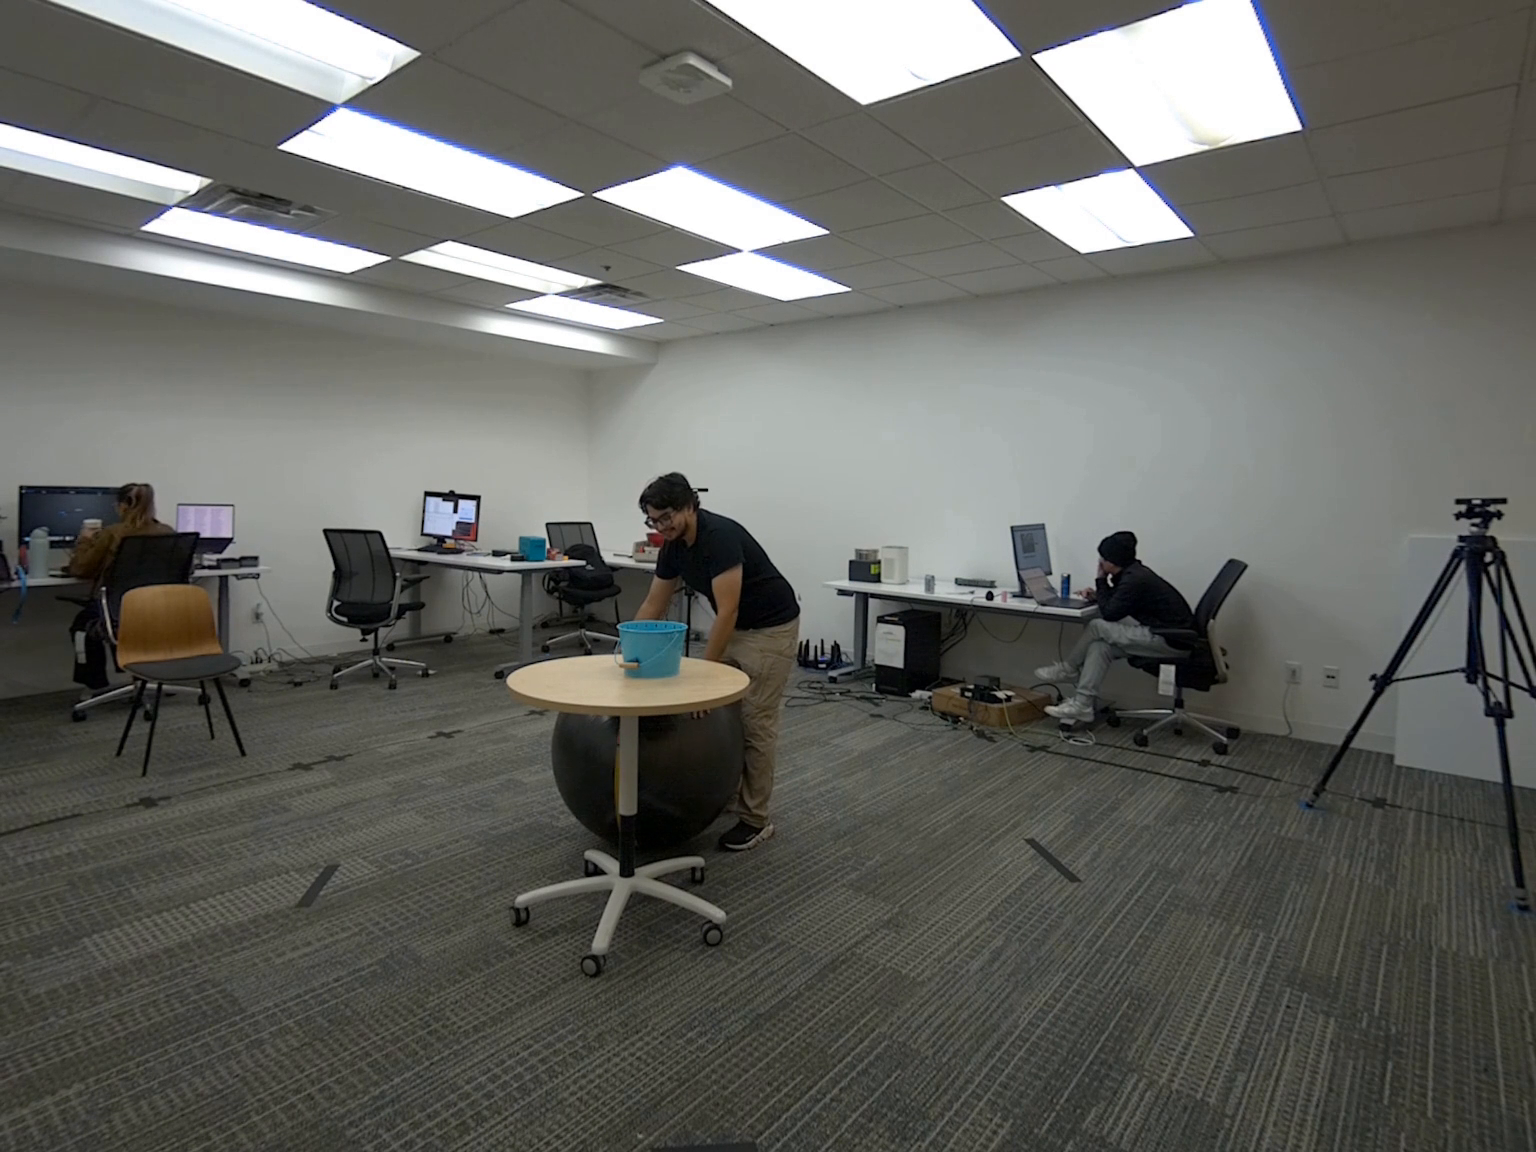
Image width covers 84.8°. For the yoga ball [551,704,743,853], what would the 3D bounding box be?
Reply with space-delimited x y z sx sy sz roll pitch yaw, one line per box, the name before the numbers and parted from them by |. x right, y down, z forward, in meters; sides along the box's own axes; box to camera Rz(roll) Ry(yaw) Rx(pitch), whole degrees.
yoga ball | -0.489 0.682 3.360 0.757 0.755 0.762 1 4 -2
